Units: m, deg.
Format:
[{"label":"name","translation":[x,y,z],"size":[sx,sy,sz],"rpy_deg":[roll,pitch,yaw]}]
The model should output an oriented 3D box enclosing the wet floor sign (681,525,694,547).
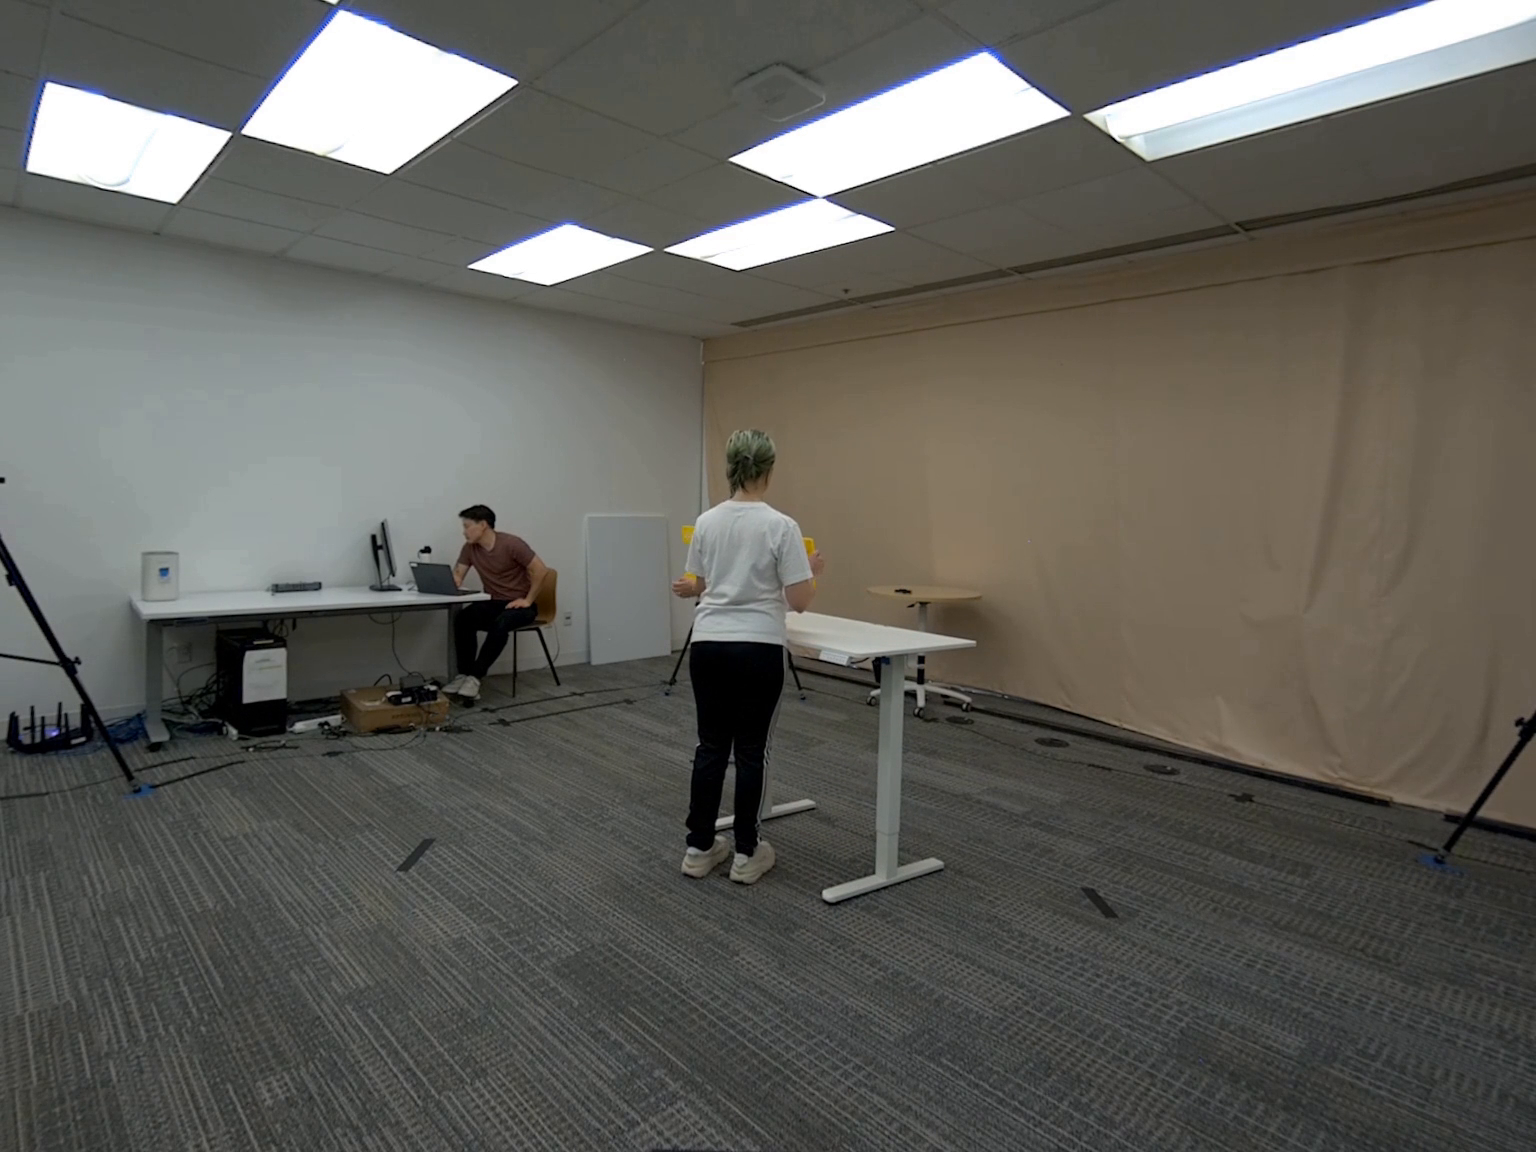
[{"label":"wet floor sign","translation":[-0.054,-0.064,3.464],"size":[0.284,0.281,0.662],"rpy_deg":[-8,9,-43]}]
